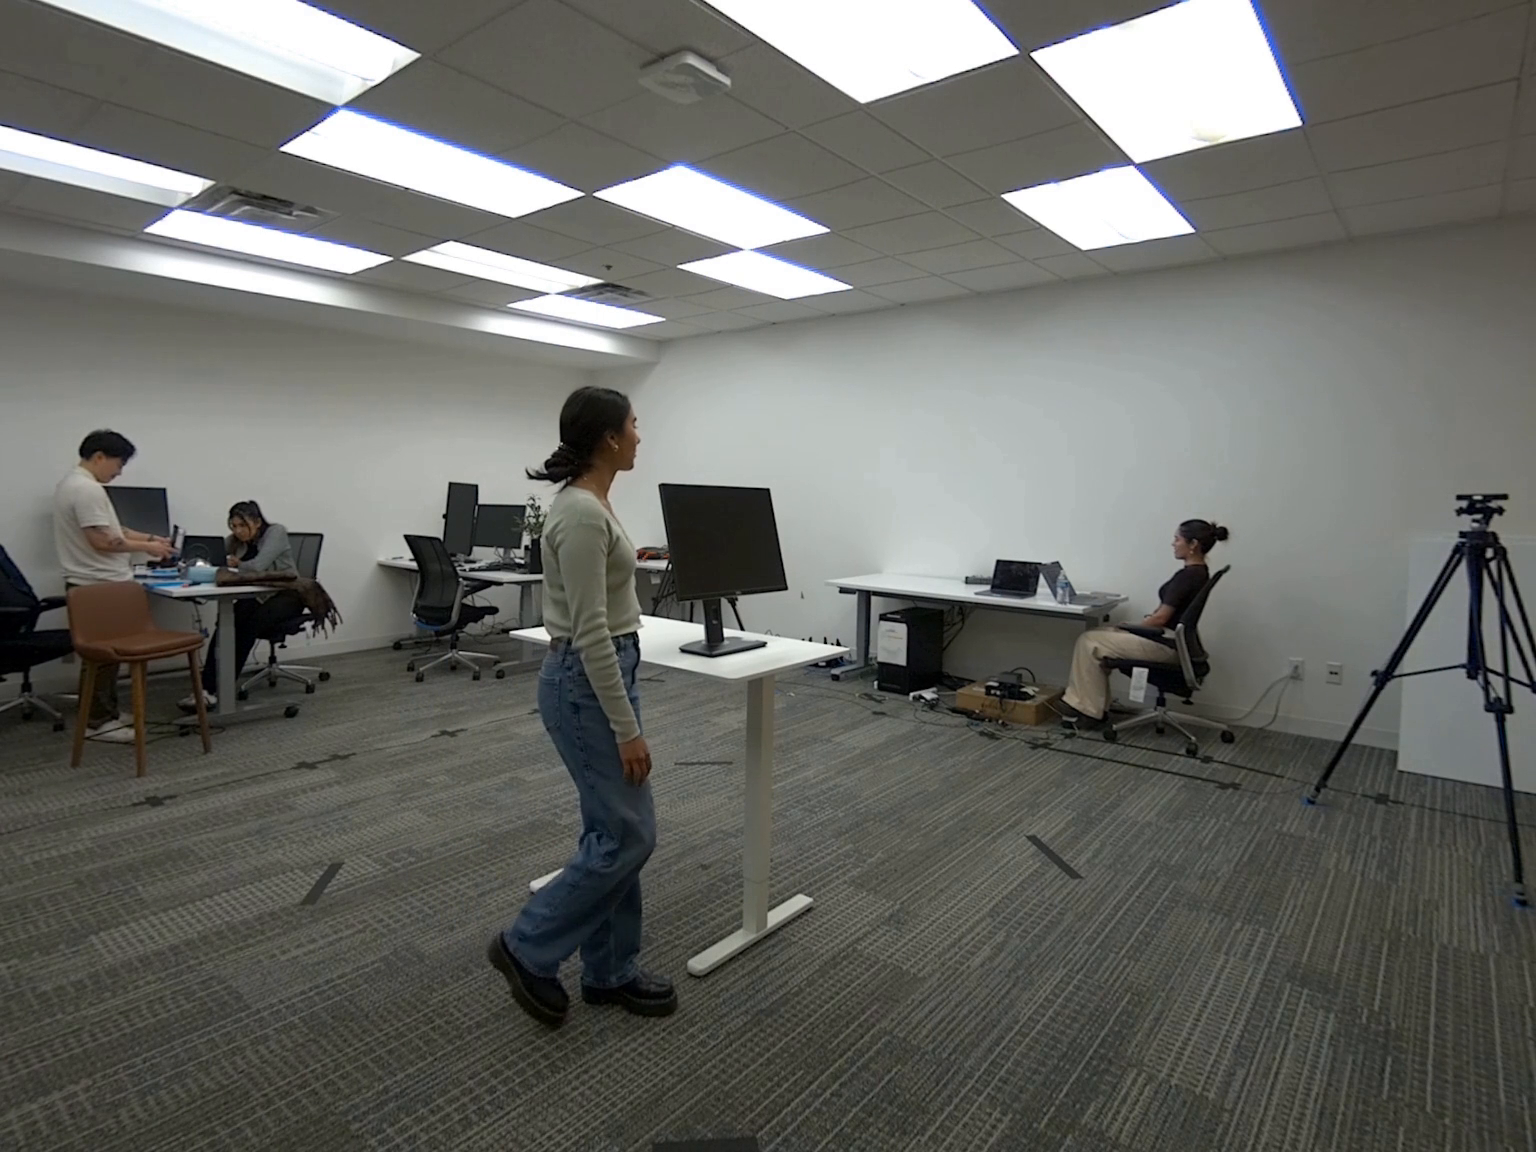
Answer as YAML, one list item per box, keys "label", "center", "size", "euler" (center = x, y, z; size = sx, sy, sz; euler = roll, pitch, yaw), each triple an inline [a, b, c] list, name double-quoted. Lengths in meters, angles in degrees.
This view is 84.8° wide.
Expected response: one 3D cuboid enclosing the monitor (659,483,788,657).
- label: "monitor"
  center: [-0.159, -0.025, 2.687]
  size: [0.193, 0.522, 0.523]
  euler: [1, 2, 36]
